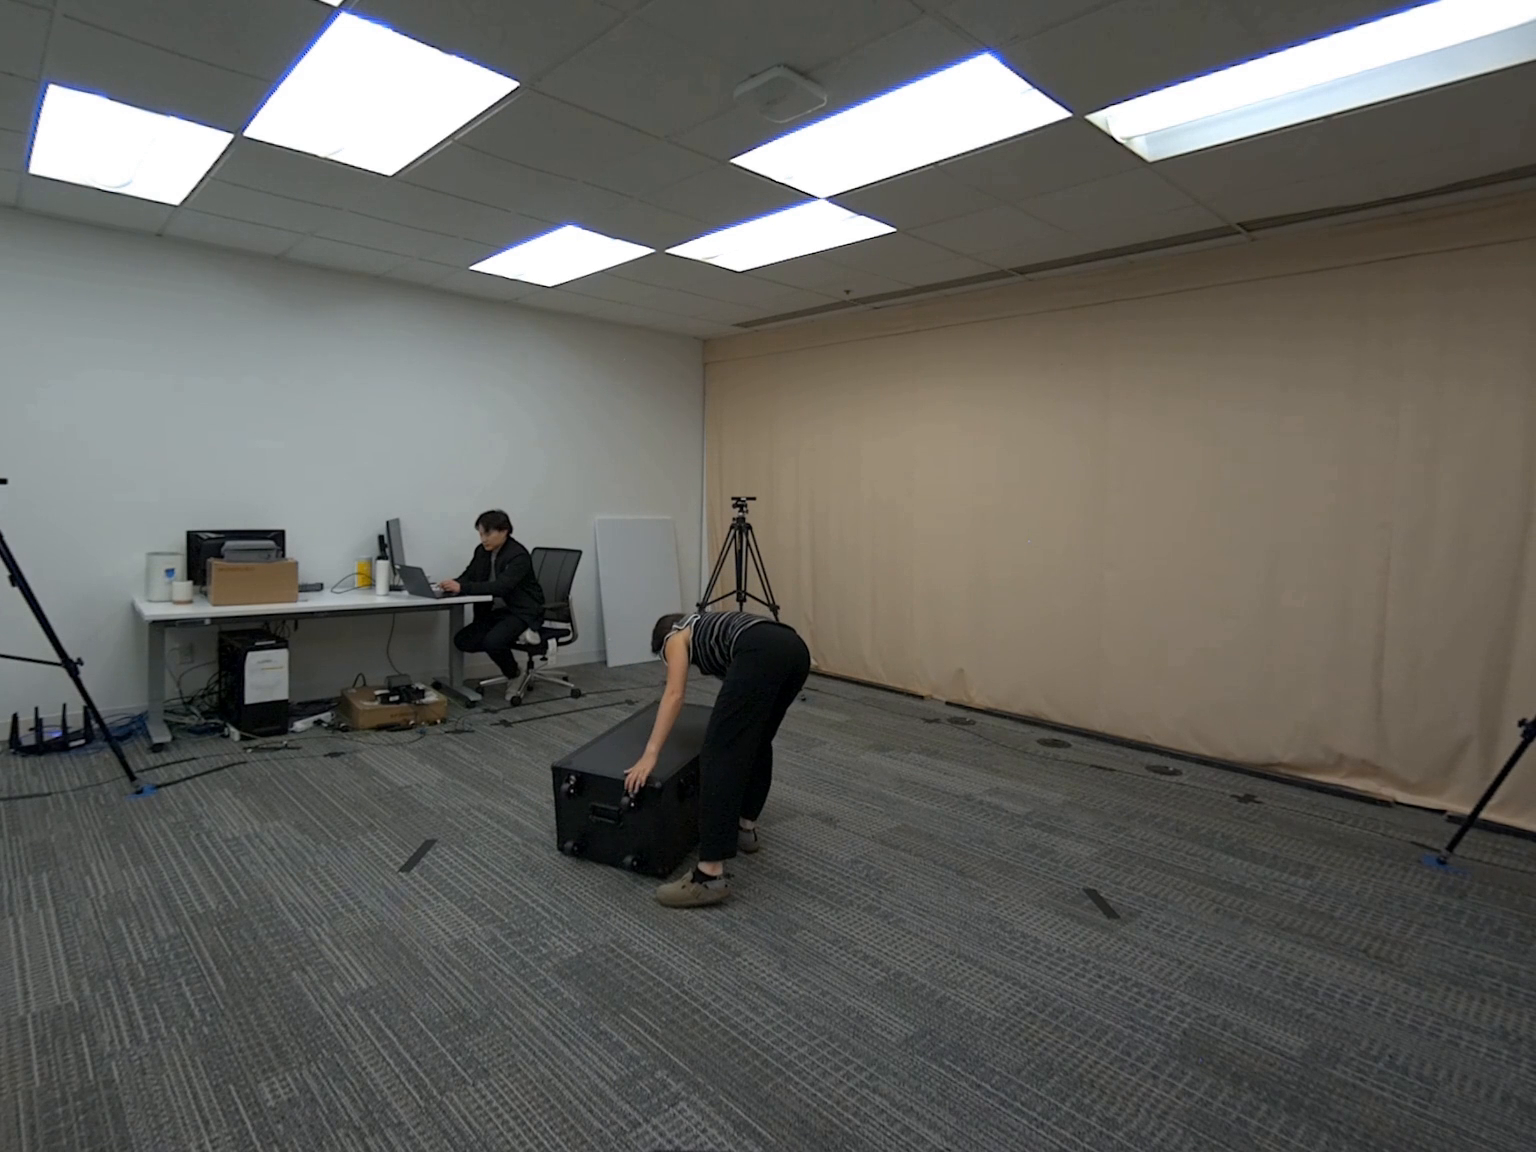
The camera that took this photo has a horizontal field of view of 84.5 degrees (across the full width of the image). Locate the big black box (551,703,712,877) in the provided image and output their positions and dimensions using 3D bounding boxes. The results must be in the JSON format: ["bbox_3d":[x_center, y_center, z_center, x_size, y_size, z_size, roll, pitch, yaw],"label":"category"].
[{"bbox_3d":[-0.478,0.841,3.440,0.531,0.393,0.852,4,12,24],"label":"big black box"}]
